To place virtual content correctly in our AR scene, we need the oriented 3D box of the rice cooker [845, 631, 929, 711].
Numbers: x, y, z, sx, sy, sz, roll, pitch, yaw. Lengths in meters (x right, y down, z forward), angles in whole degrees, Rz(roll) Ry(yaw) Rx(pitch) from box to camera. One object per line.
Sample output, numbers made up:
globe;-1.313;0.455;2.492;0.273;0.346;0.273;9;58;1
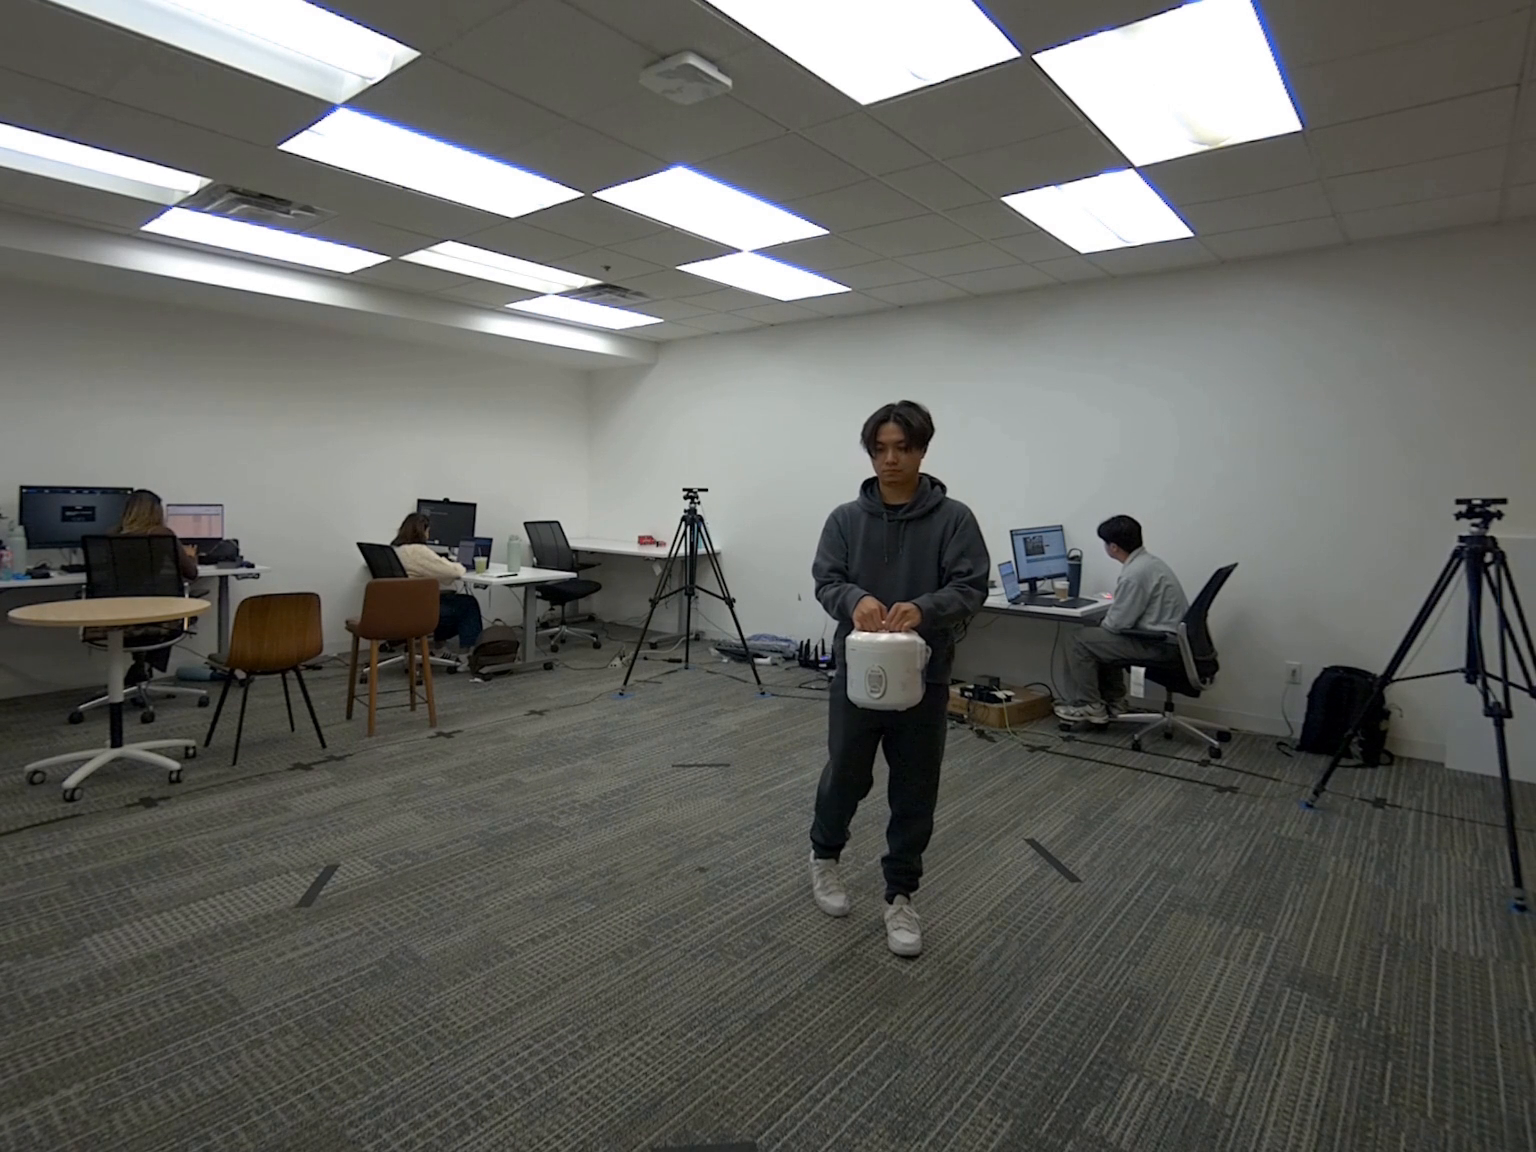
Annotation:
rice cooker;0.317;0.241;2.364;0.226;0.233;0.212;0;0;24
